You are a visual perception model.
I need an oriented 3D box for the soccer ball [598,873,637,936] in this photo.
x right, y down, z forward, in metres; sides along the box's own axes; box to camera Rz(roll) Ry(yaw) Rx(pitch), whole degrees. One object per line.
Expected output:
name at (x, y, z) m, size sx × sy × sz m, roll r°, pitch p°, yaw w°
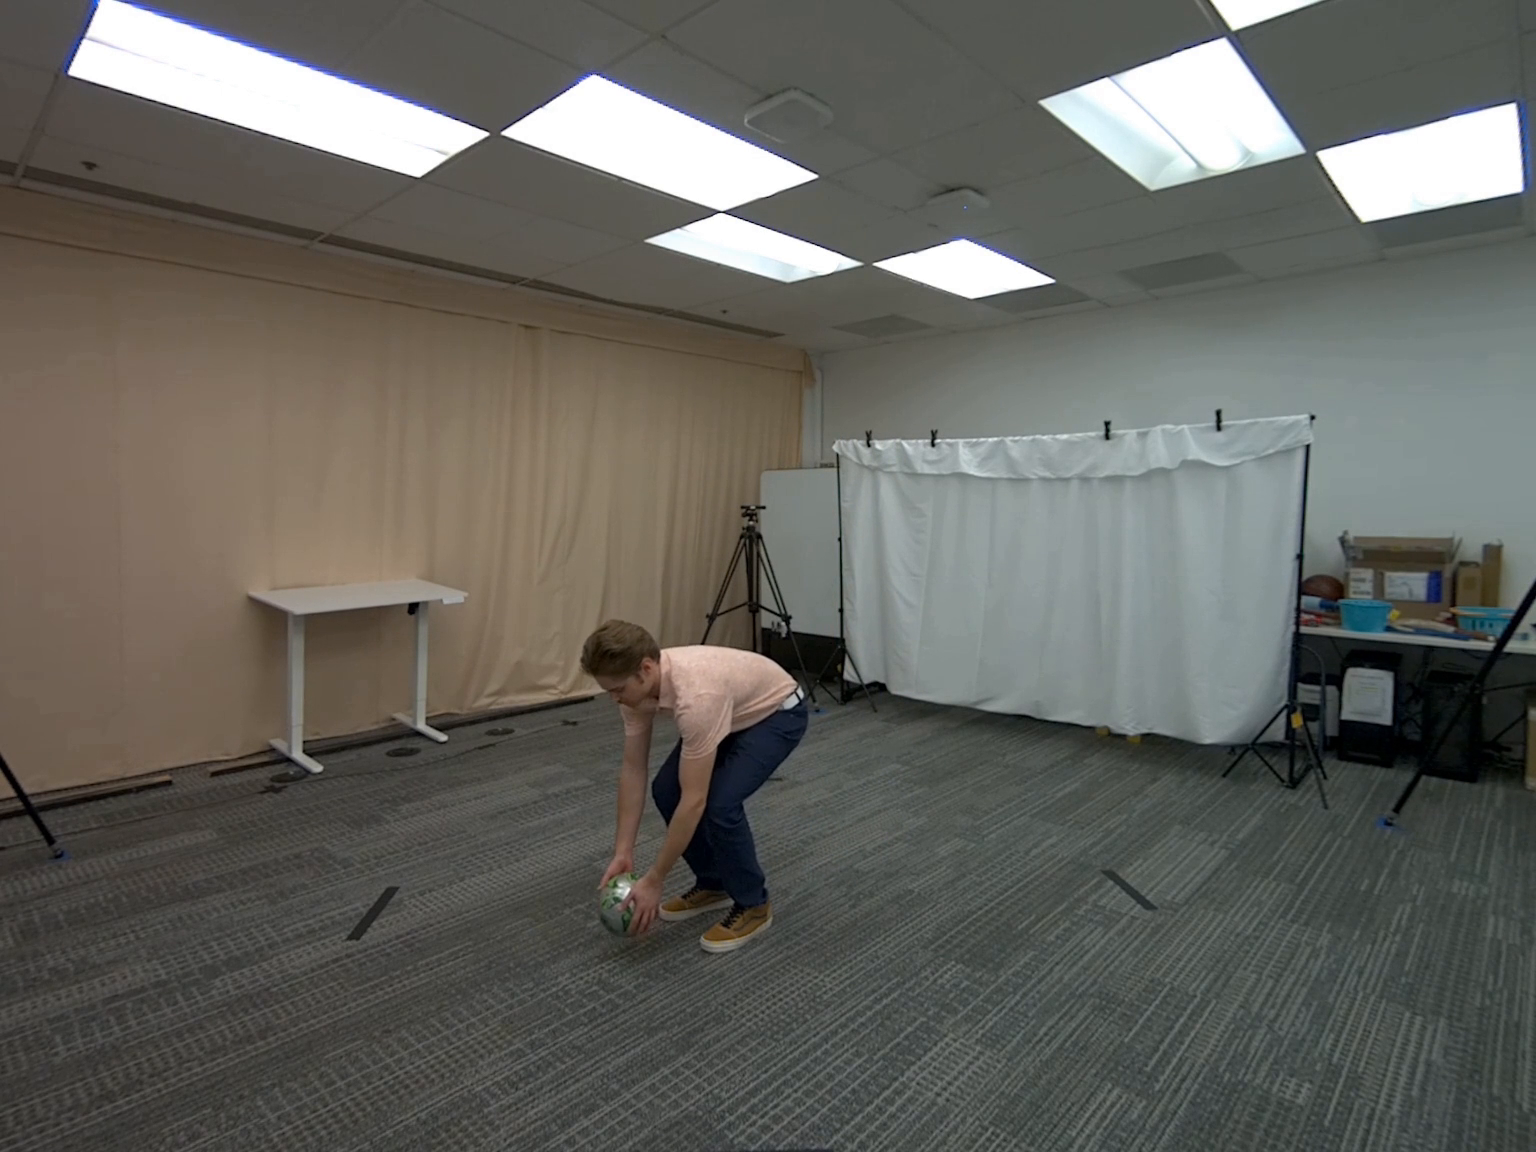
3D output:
soccer ball at (-0.431, 1.016, 2.607) m, size 0.187 × 0.187 × 0.188 m, roll 0°, pitch 4°, yaw -2°
